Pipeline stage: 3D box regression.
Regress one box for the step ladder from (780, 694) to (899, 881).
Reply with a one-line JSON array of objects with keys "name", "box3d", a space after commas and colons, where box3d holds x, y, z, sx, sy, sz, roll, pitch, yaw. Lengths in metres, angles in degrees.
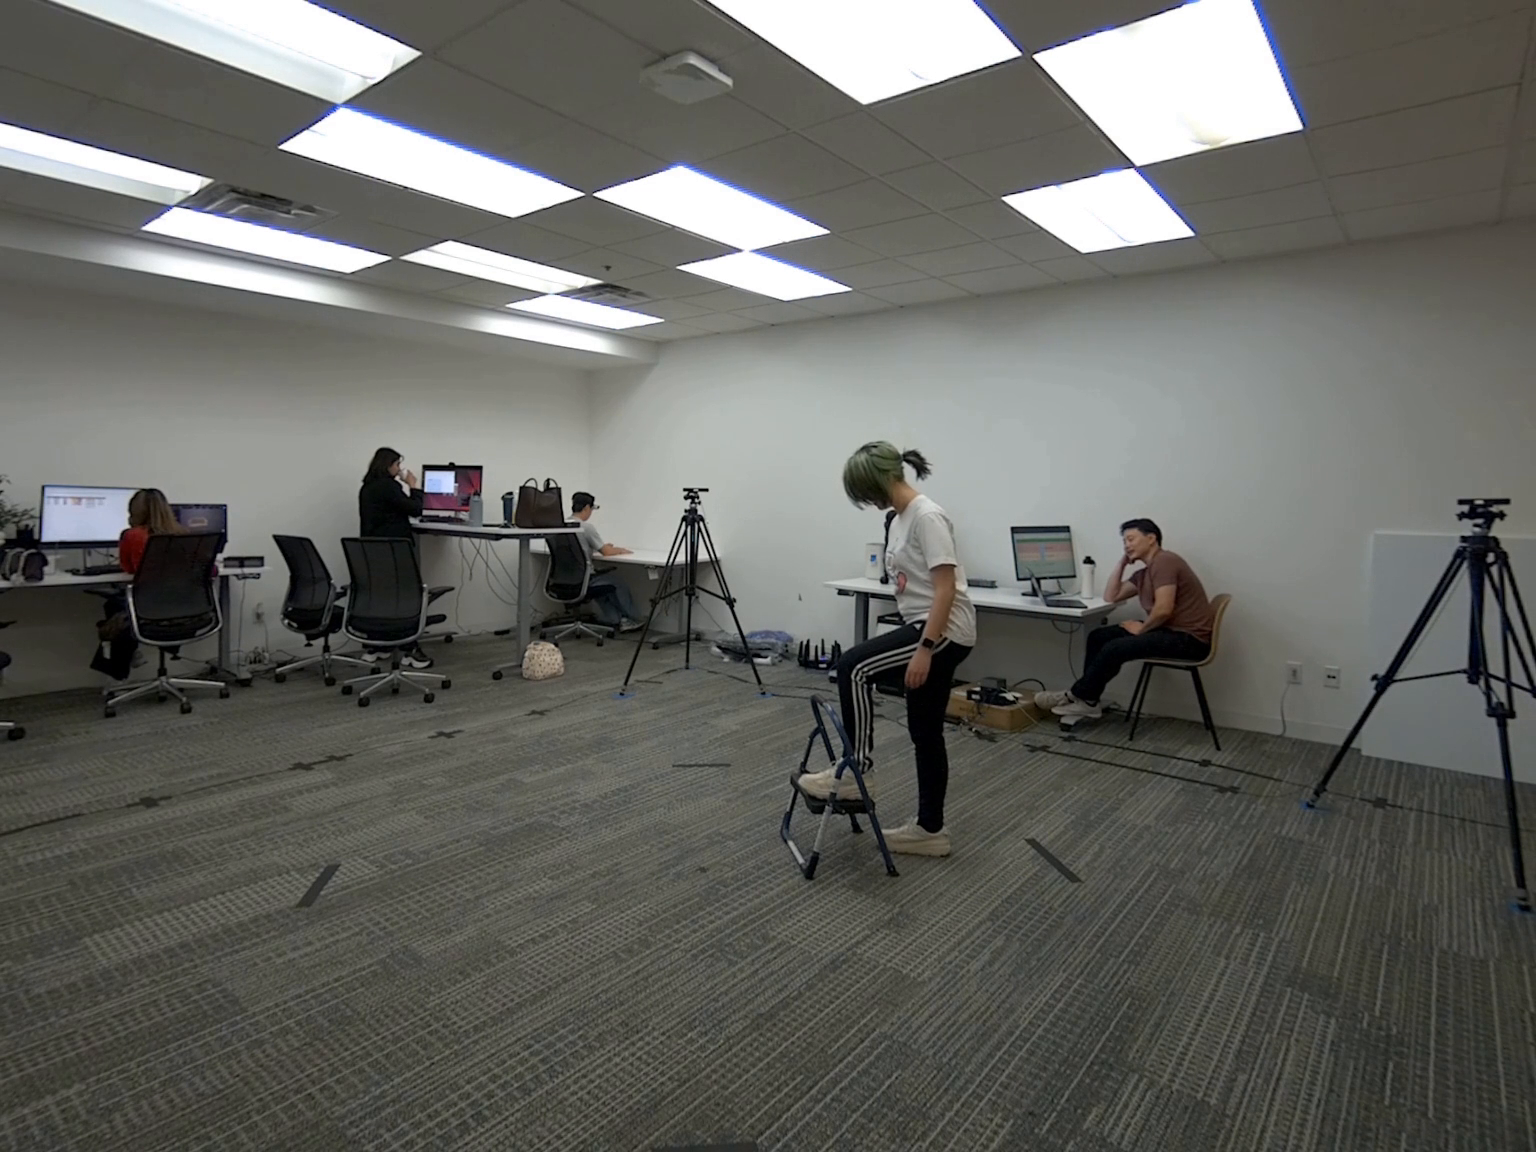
[{"name": "step ladder", "box3d": [0.259, 0.769, 3.258, 0.345, 0.604, 0.437, 1, 3, -12]}]
